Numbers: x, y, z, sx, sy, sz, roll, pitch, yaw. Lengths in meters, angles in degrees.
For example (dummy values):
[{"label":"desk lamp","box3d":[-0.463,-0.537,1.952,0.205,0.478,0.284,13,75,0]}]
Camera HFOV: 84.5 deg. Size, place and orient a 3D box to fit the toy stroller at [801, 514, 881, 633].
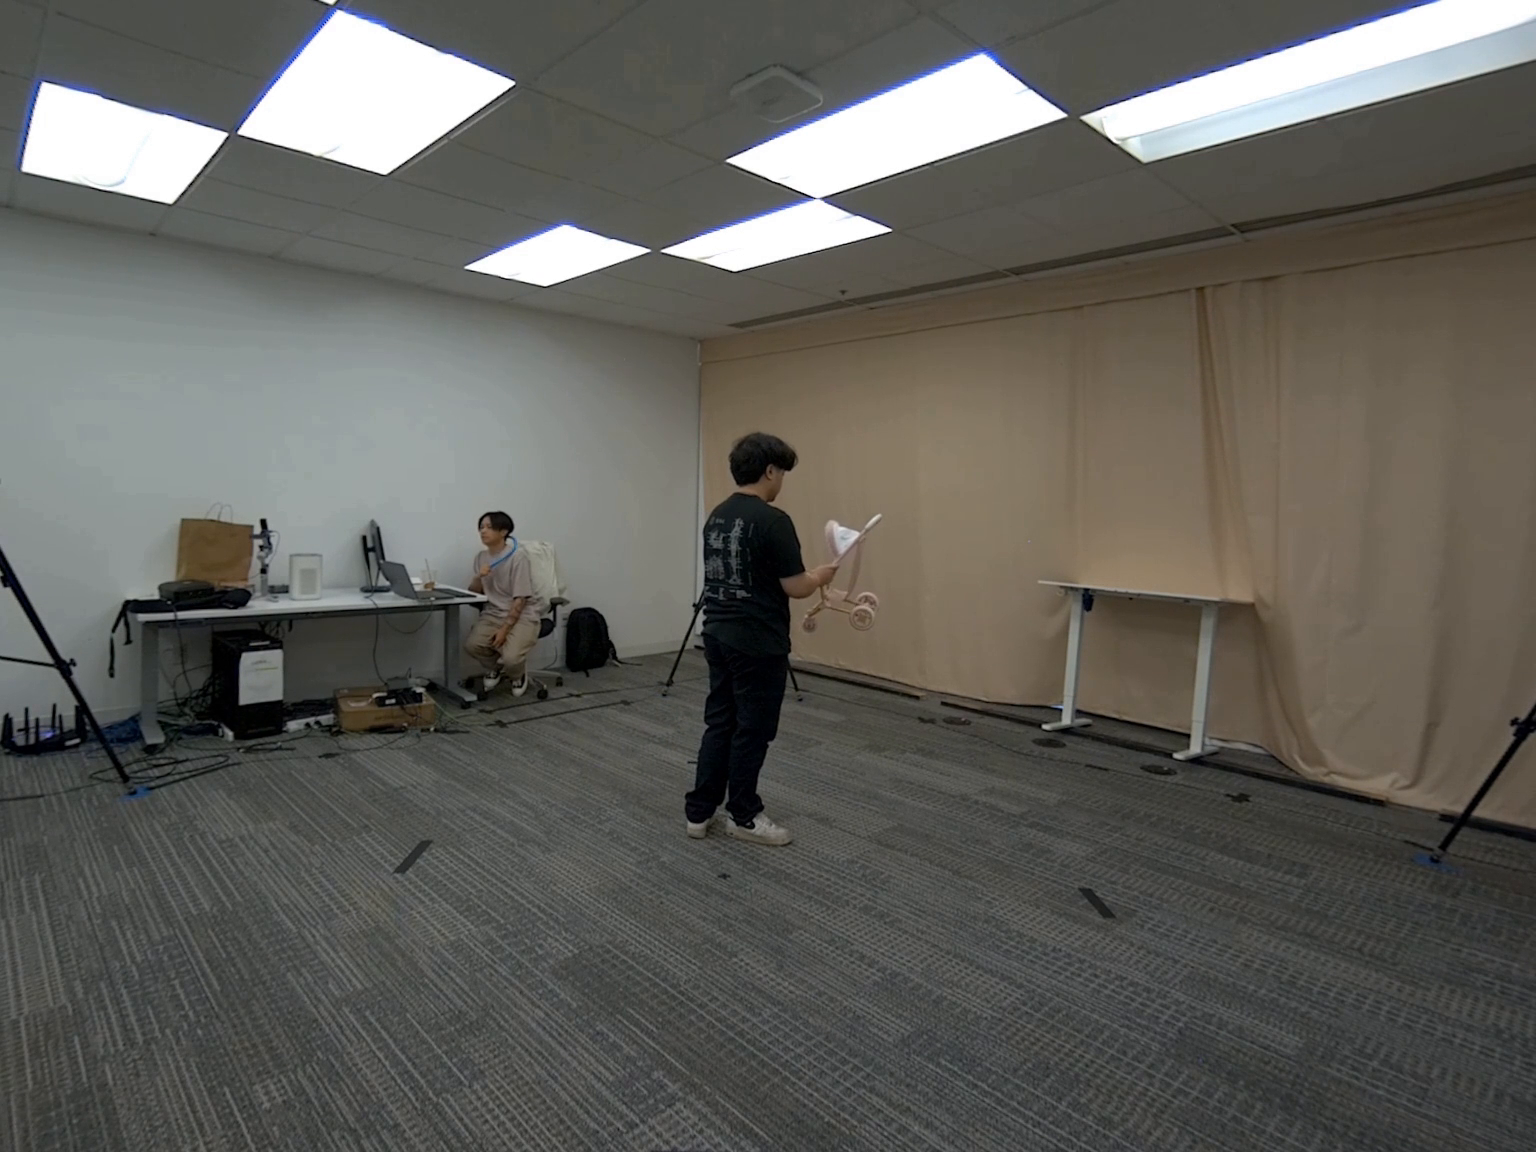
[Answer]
[{"label":"toy stroller","box3d":[0.310,-0.008,3.688,0.346,0.531,0.279,3,11,17]}]
